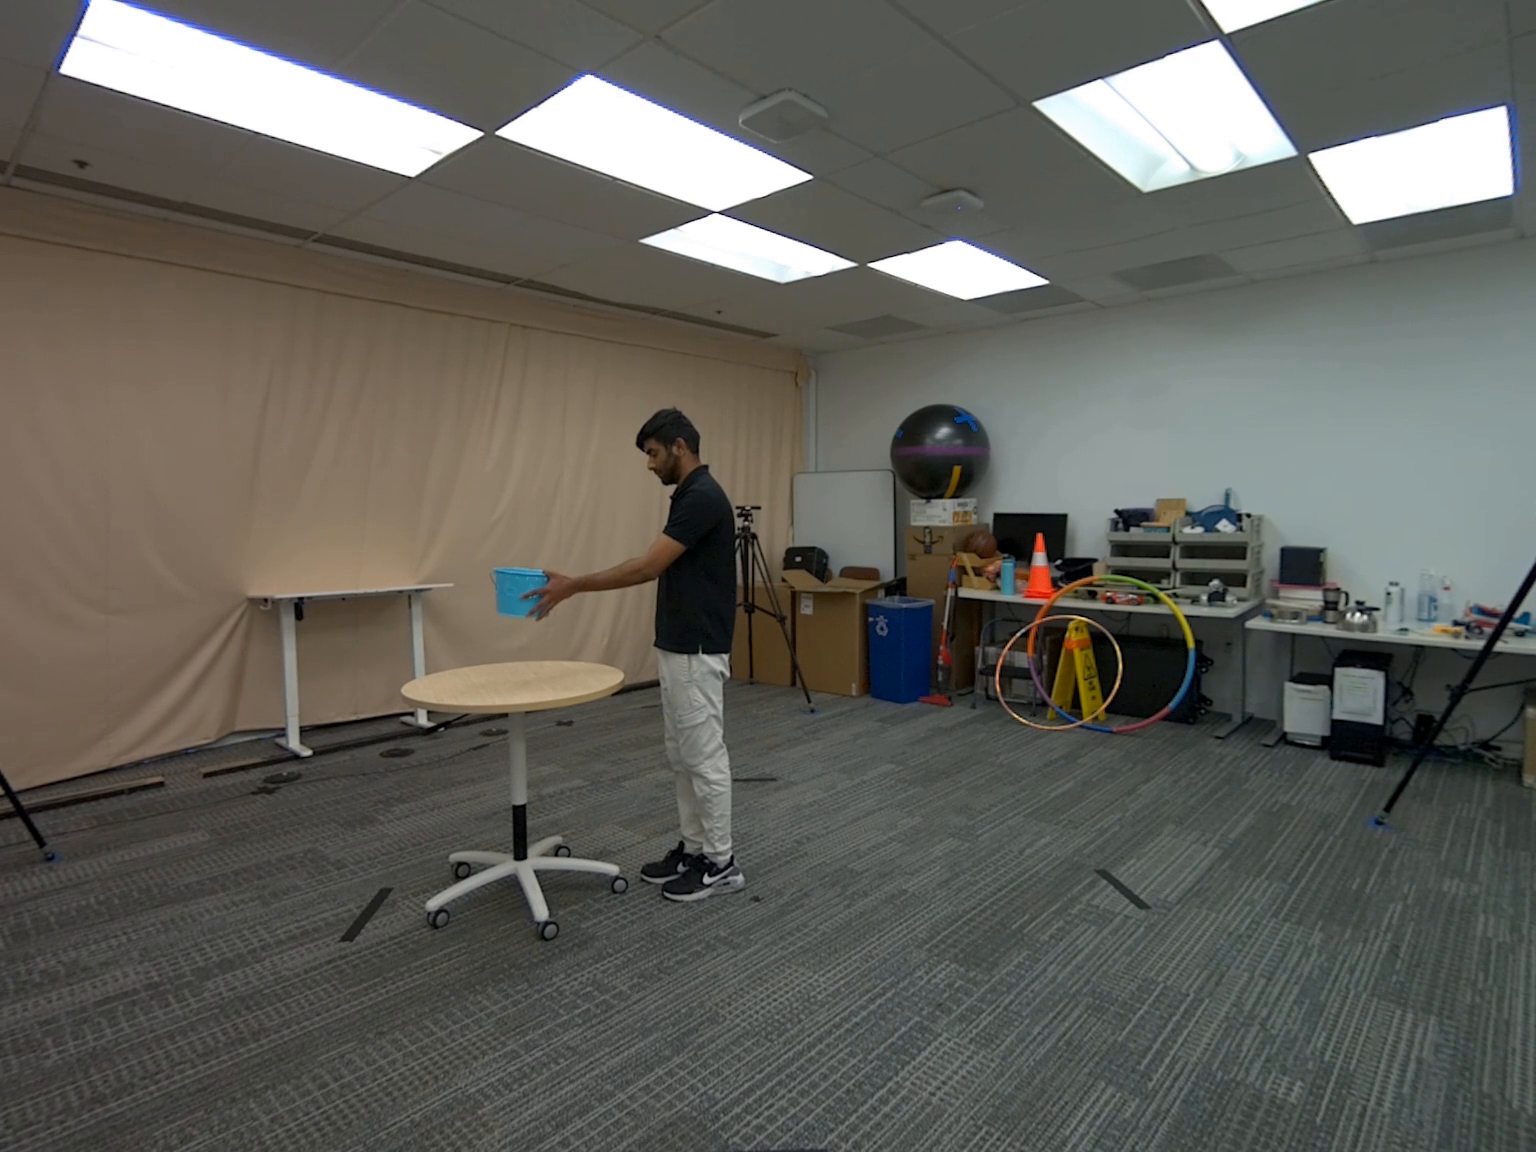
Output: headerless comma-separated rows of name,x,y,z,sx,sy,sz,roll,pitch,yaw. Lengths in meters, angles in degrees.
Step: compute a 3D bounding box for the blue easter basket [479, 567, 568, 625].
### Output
blue easter basket,-0.847,0.065,2.950,0.243,0.155,0.244,5,3,-2
